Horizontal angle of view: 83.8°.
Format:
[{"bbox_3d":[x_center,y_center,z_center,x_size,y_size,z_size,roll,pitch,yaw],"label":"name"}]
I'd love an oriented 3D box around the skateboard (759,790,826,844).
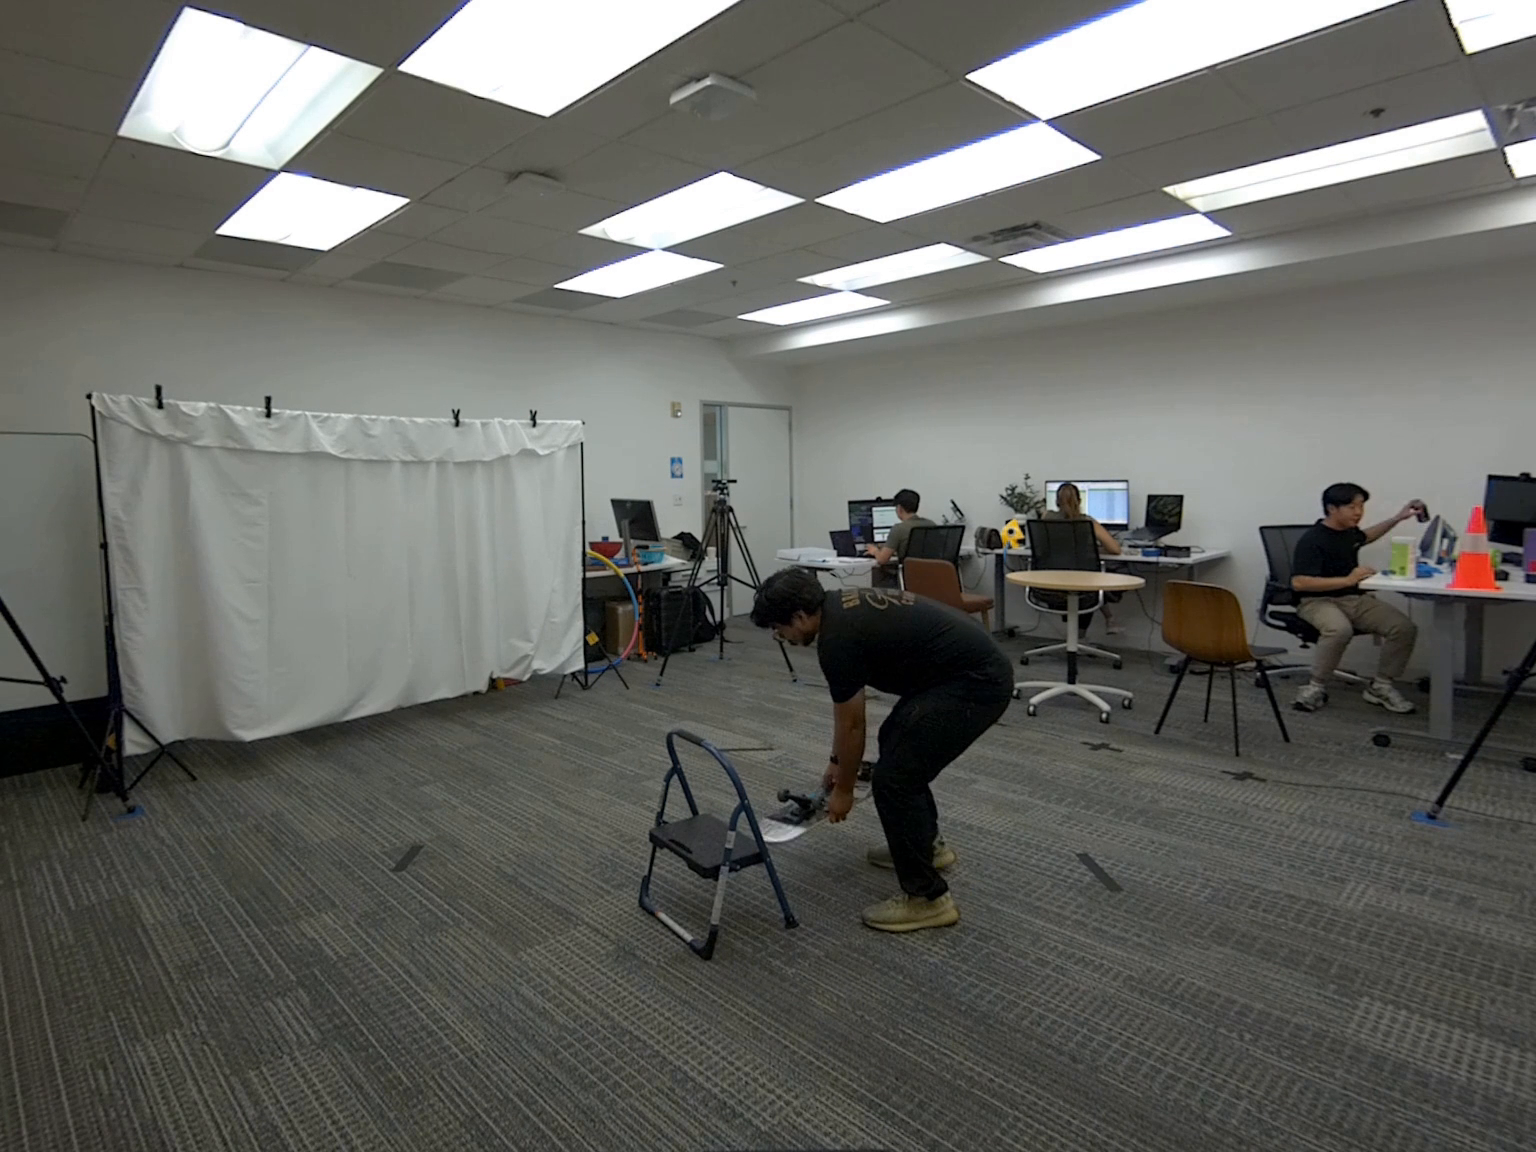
[{"bbox_3d":[0.244,0.767,3.042,0.199,0.110,0.766,-2,6,43],"label":"skateboard"}]
